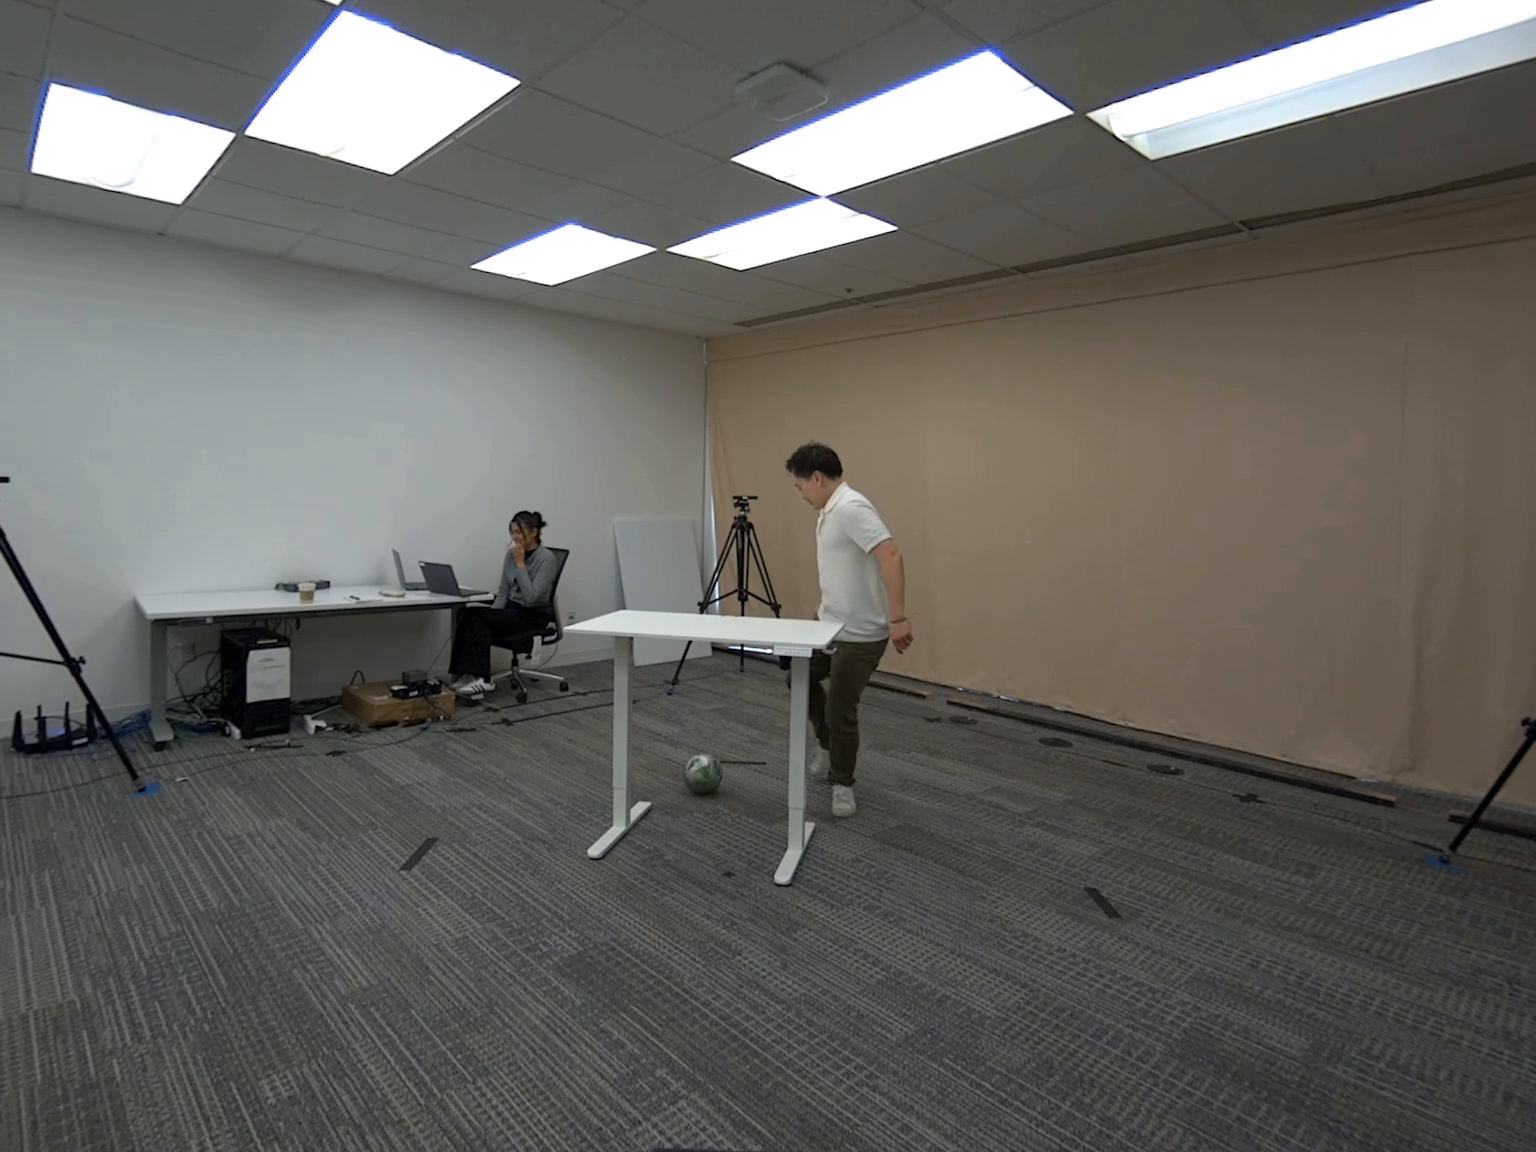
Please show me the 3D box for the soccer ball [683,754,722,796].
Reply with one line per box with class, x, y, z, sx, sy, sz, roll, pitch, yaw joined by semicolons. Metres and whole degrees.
soccer ball;-0.317;0.922;3.954;0.187;0.187;0.188;1;4;-1
